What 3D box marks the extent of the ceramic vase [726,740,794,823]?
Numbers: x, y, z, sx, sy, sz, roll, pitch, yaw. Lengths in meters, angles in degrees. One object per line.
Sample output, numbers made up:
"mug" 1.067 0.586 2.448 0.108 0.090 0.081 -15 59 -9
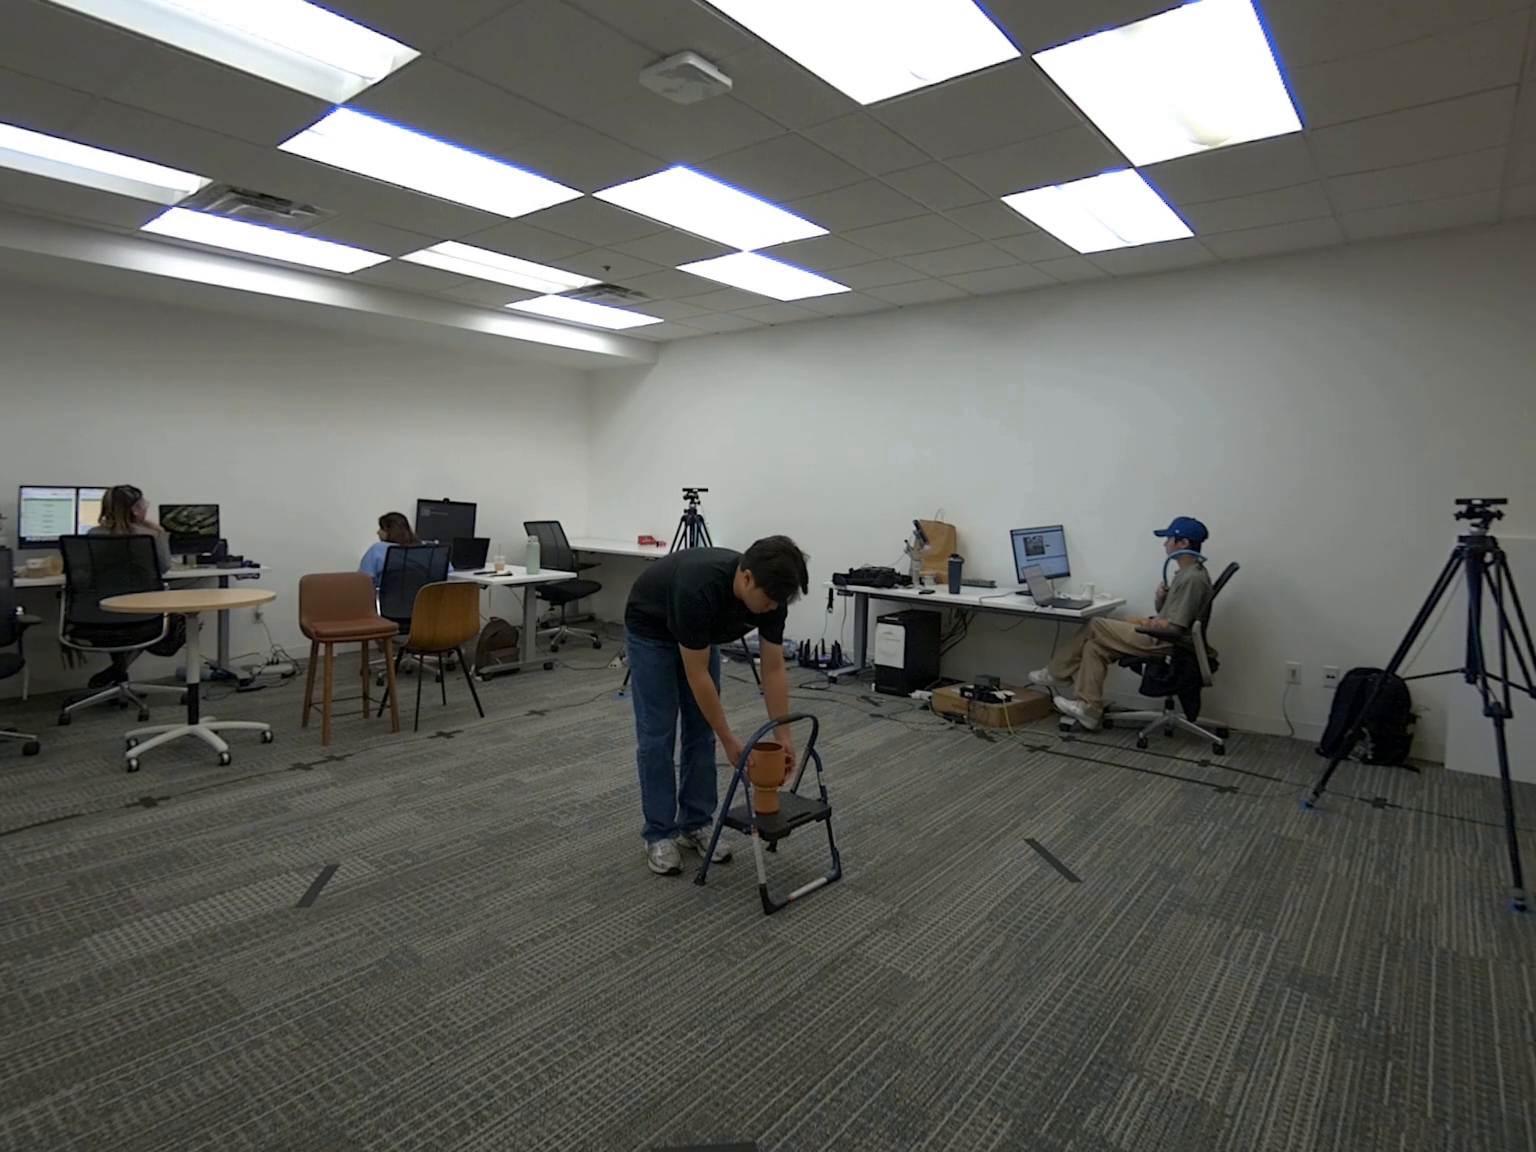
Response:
"ceramic vase" -0.016 0.709 3.010 0.164 0.219 0.131 2 3 38
